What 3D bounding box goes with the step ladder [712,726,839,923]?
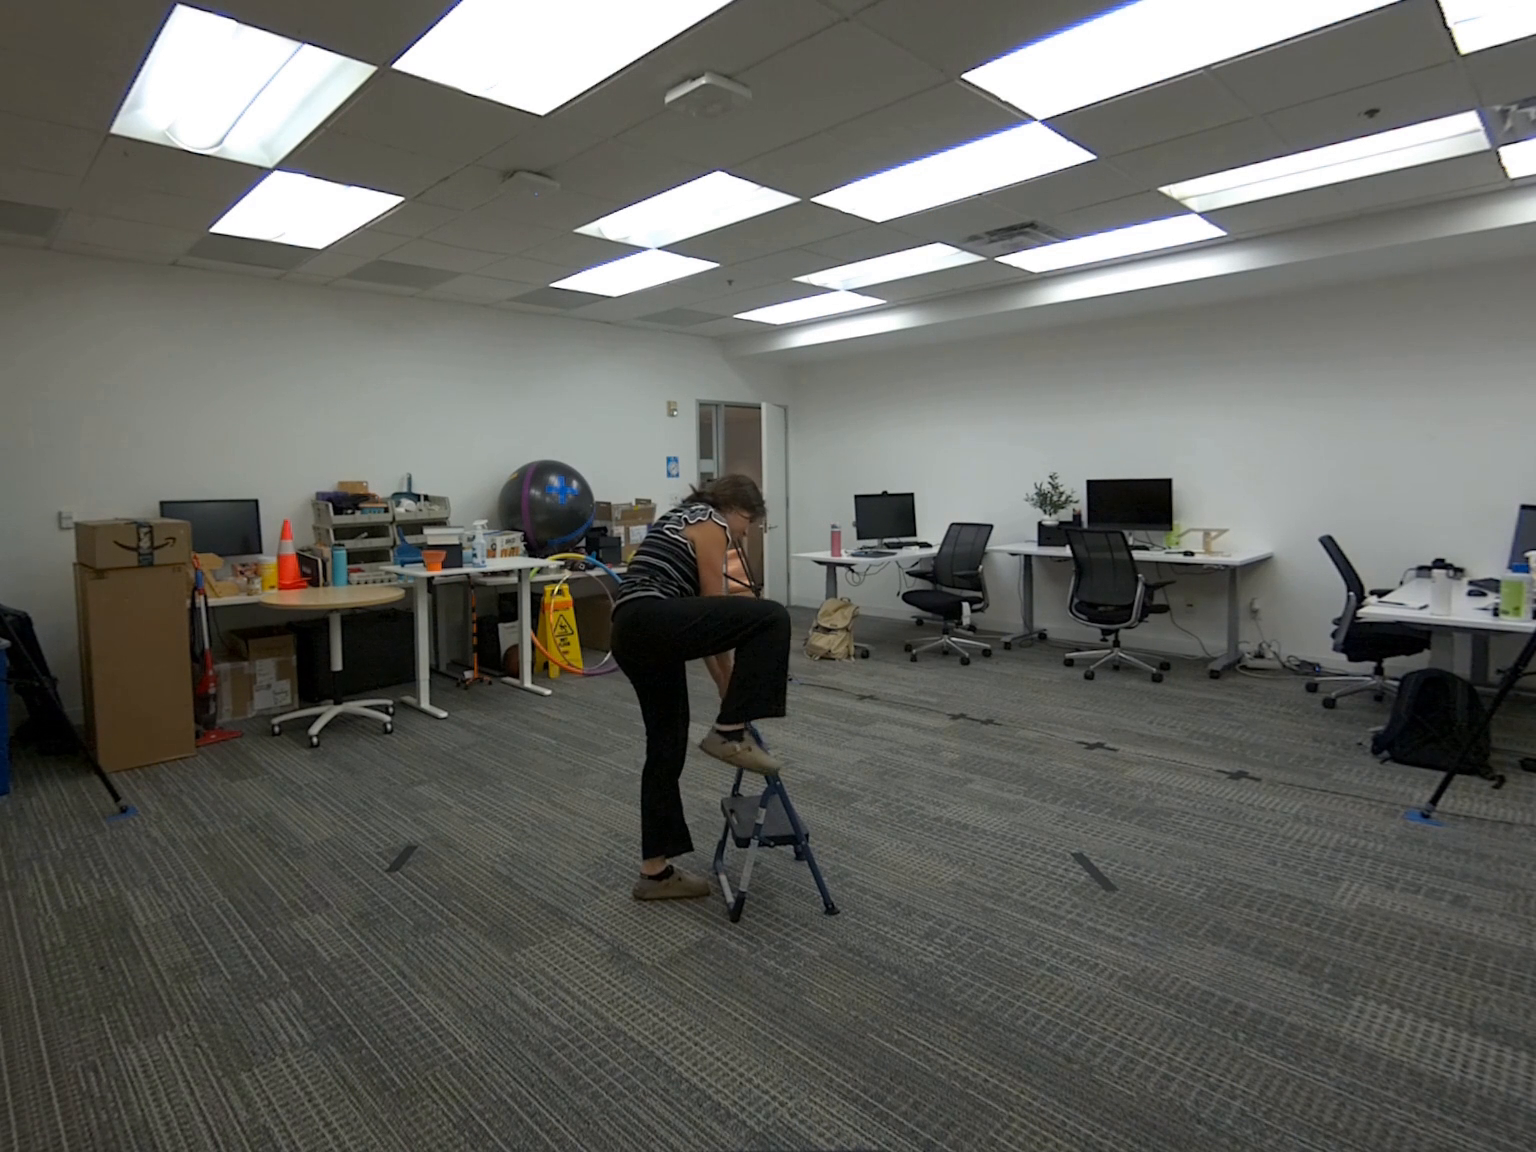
[{"bbox_3d":[0.005,0.766,2.898,0.346,0.604,0.437,-2,4,-11],"label":"step ladder"}]
